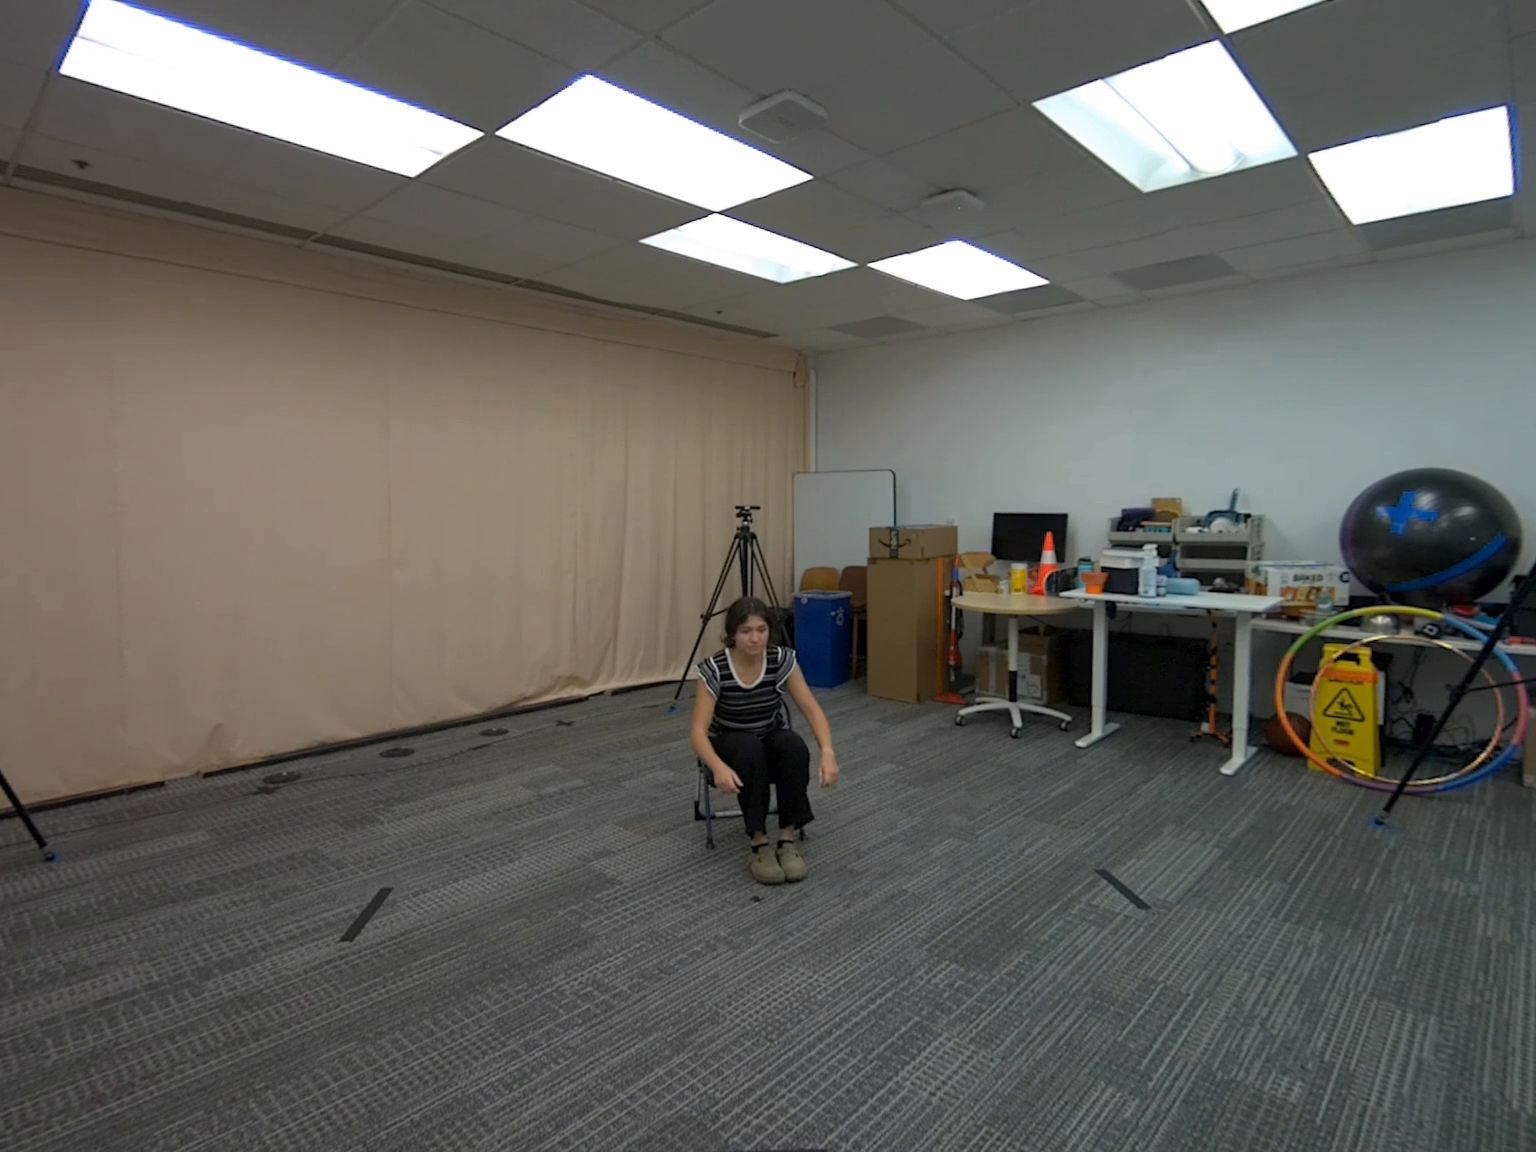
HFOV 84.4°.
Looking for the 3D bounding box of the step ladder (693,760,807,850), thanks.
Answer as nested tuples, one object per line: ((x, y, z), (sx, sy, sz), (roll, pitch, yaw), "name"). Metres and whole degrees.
((-0.085, 0.797, 3.618), (0.425, 0.605, 0.355), (0, 3, -14), "step ladder")
